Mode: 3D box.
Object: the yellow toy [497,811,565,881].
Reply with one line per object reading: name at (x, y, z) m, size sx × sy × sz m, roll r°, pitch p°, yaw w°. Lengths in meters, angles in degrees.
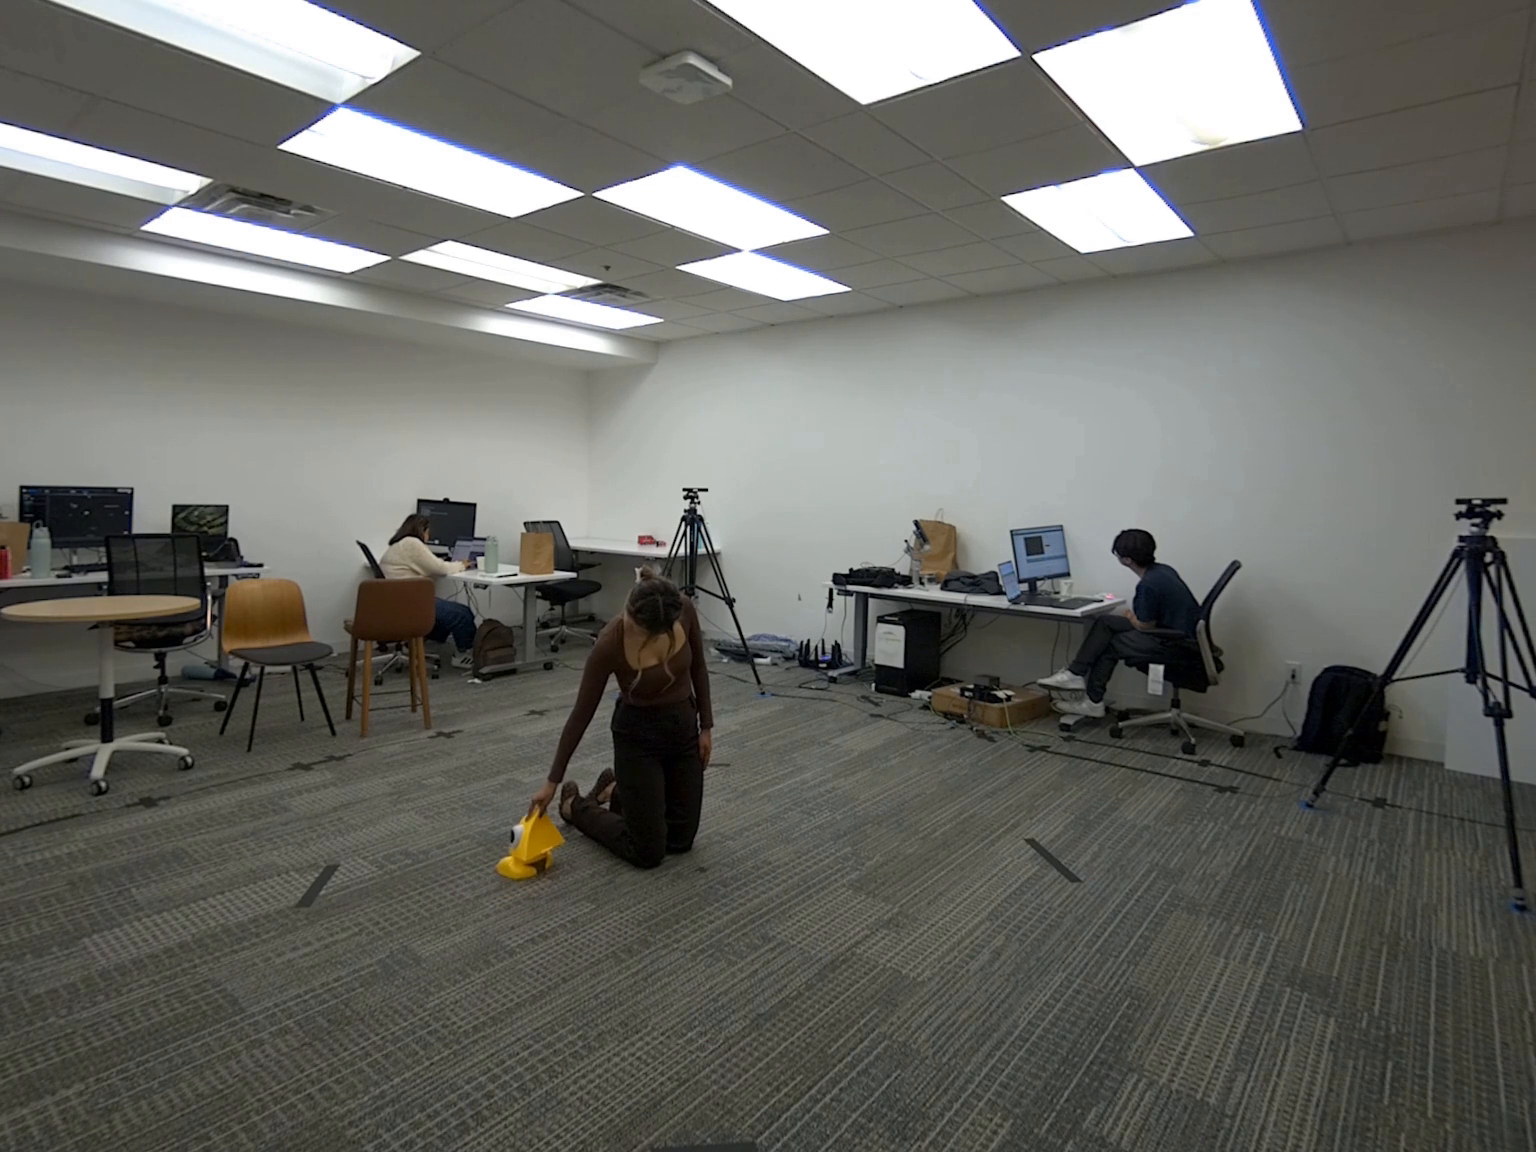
yellow toy at (-0.886, 0.949, 3.091) m, size 0.198 × 0.230 × 0.199 m, roll 3°, pitch 4°, yaw 29°
